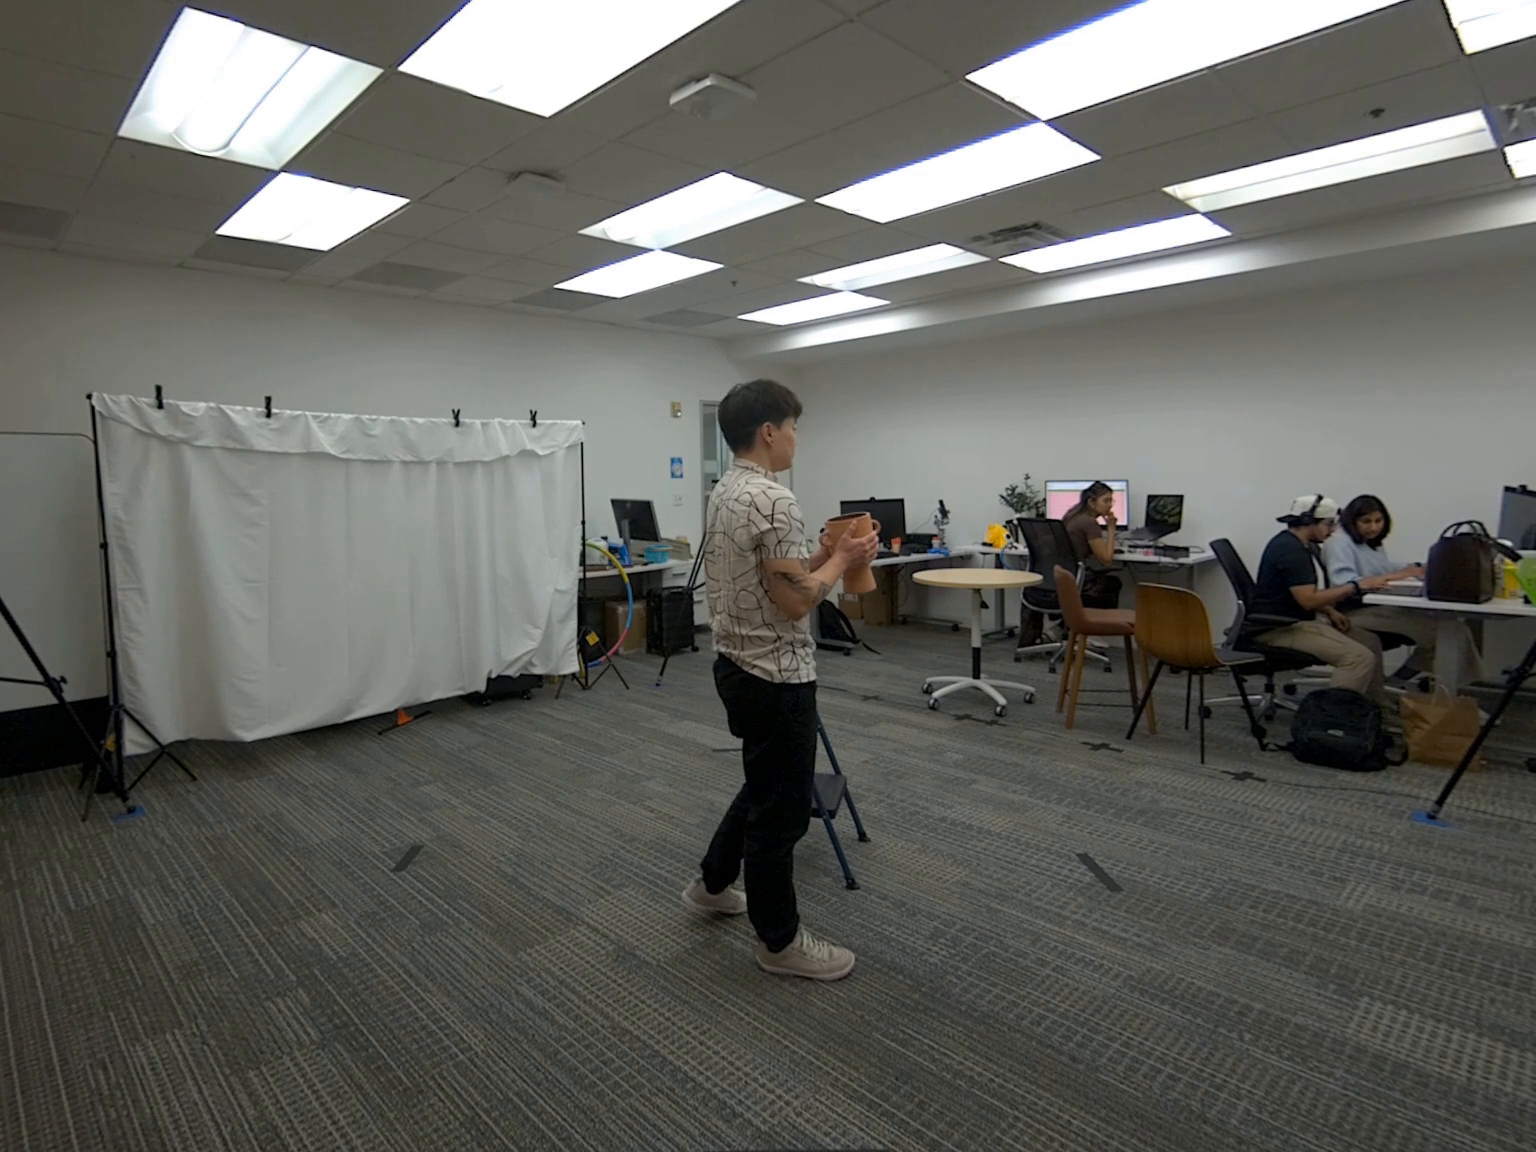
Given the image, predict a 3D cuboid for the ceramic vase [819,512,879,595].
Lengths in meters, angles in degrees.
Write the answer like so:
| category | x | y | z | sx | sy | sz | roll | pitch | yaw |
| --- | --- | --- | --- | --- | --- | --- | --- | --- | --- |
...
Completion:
| category | x | y | z | sx | sy | sz | roll | pitch | yaw |
| --- | --- | --- | --- | --- | --- | --- | --- | --- | --- |
| ceramic vase | 0.248 | -0.065 | 2.493 | 0.162 | 0.218 | 0.133 | -6 | 10 | 21 |
